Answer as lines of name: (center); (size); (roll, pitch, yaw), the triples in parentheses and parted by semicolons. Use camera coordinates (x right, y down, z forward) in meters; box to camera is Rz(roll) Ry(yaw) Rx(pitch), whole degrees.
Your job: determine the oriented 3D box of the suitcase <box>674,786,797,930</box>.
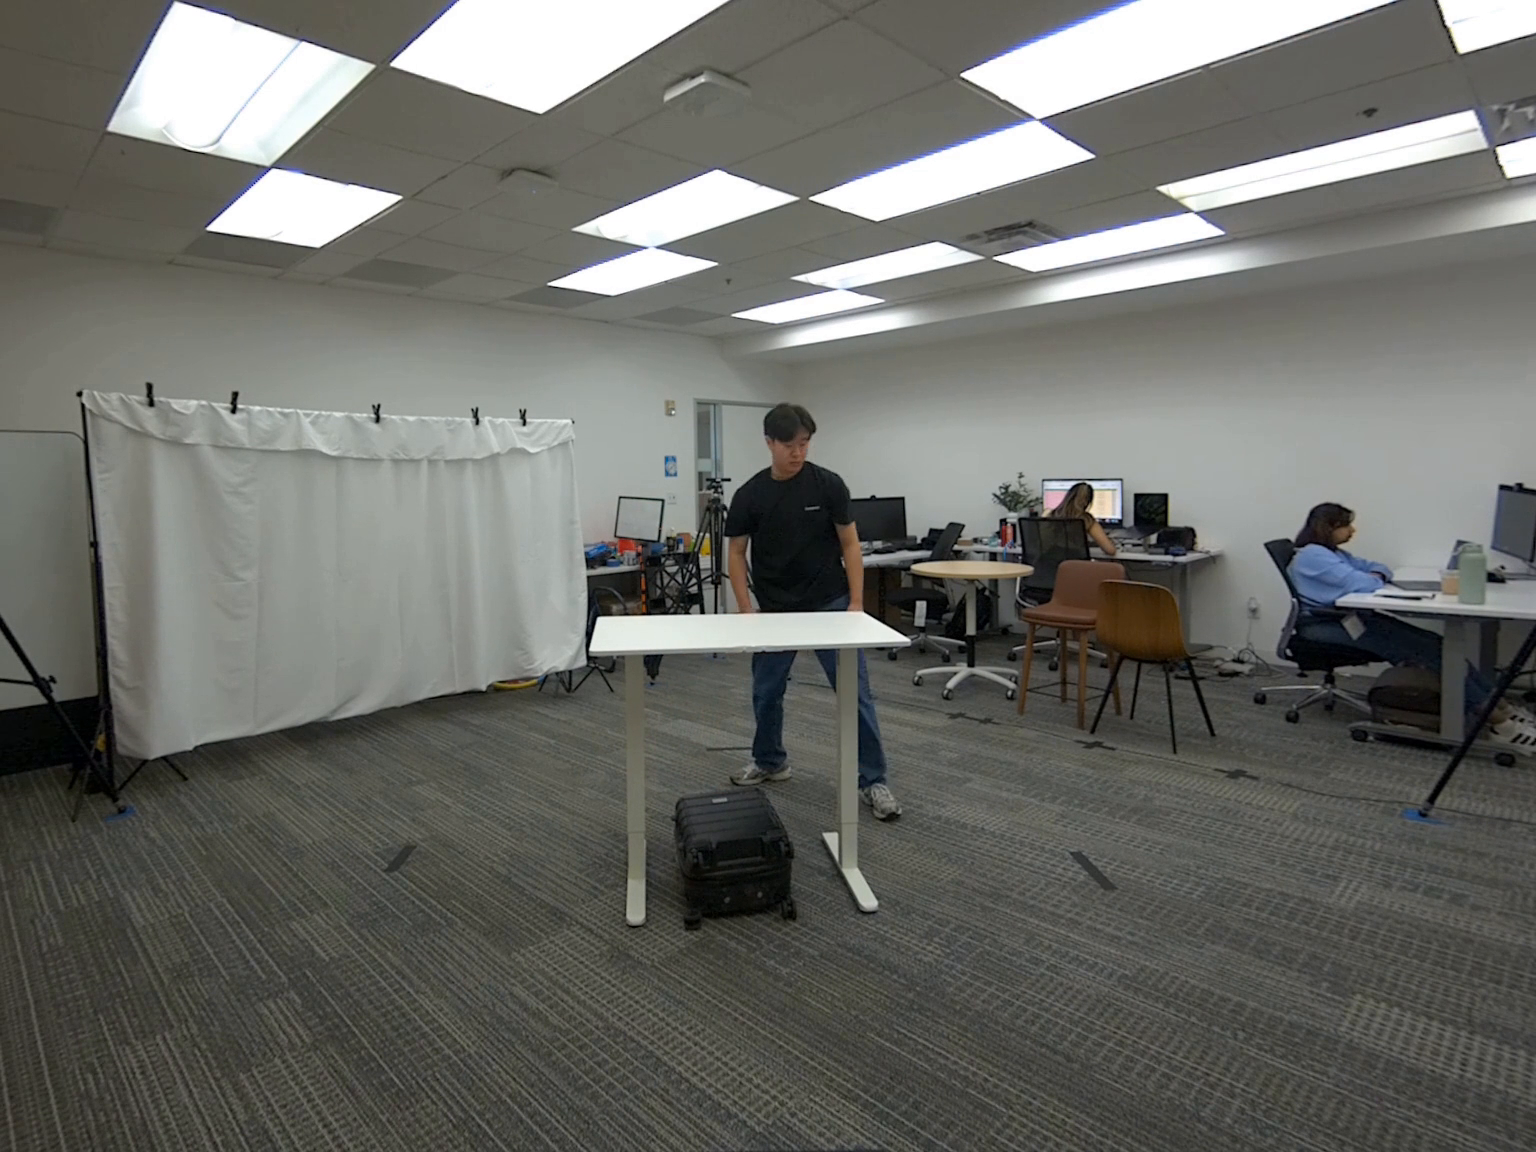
suitcase: (-0.164, 0.911, 3.142); (0.381, 0.255, 0.992); (-4, 7, -10)
